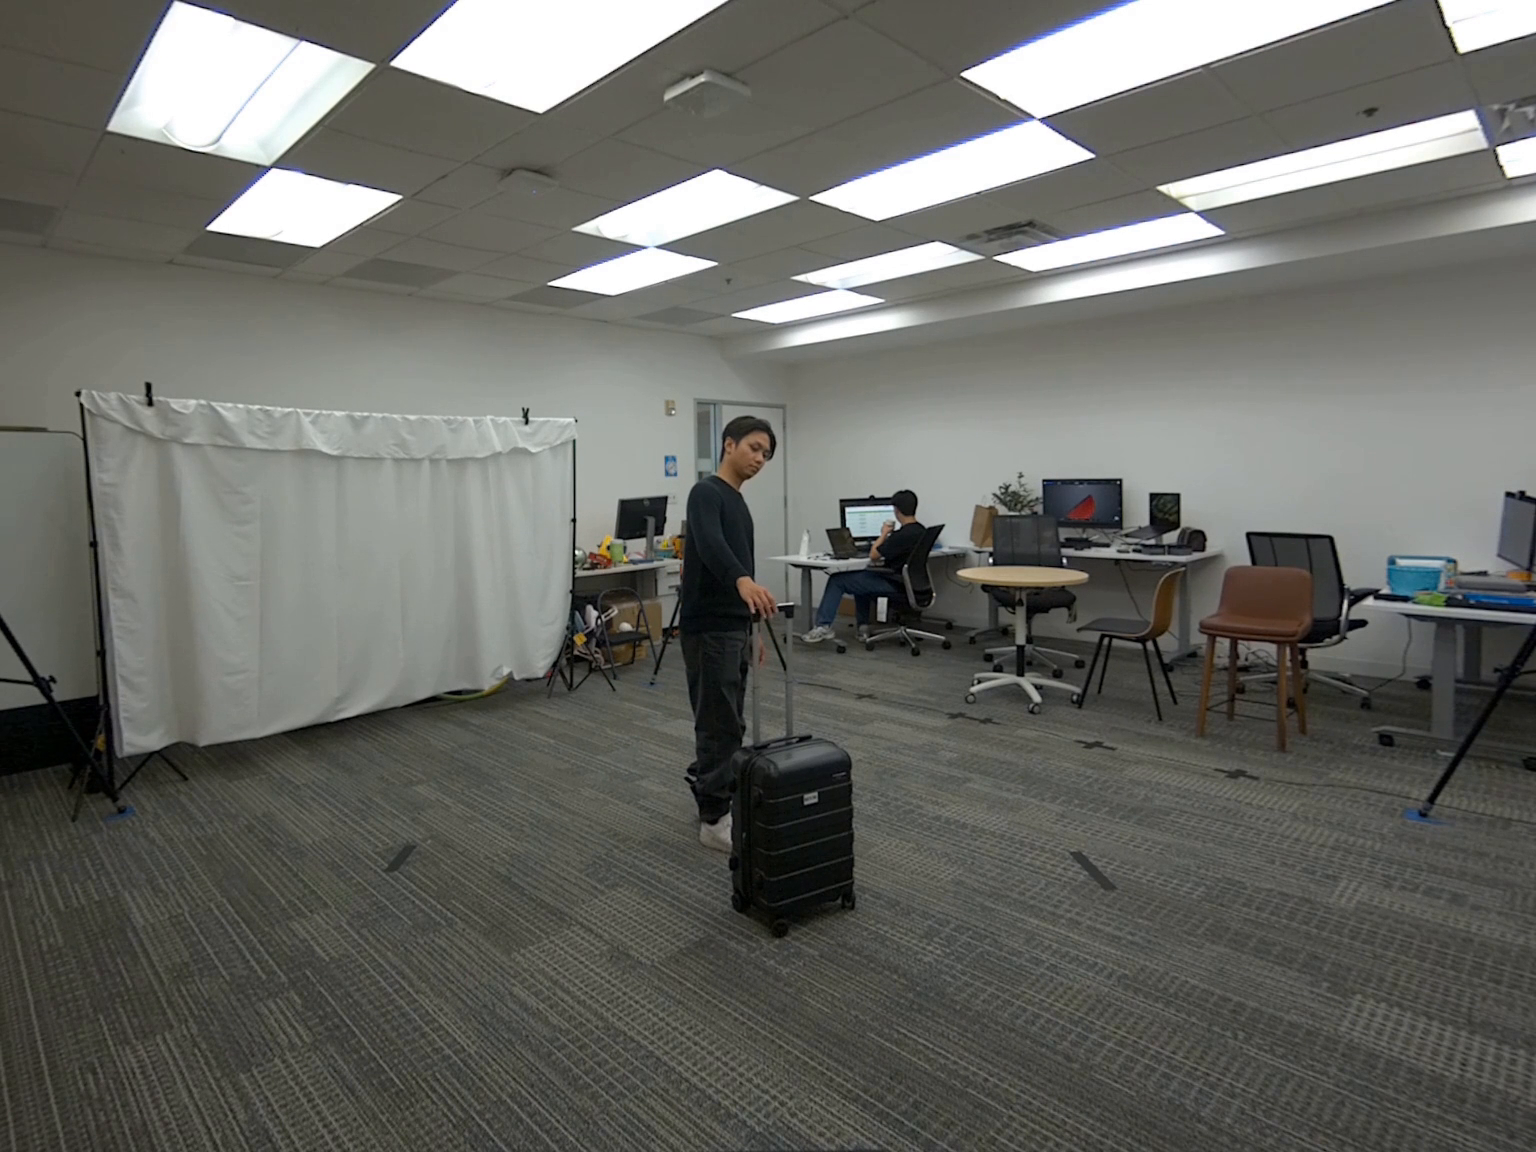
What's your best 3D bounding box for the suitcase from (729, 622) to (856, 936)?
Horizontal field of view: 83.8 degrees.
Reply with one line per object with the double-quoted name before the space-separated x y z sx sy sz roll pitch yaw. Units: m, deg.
"suitcase" 0.086 0.606 2.730 0.375 0.973 0.265 -4 7 -31
